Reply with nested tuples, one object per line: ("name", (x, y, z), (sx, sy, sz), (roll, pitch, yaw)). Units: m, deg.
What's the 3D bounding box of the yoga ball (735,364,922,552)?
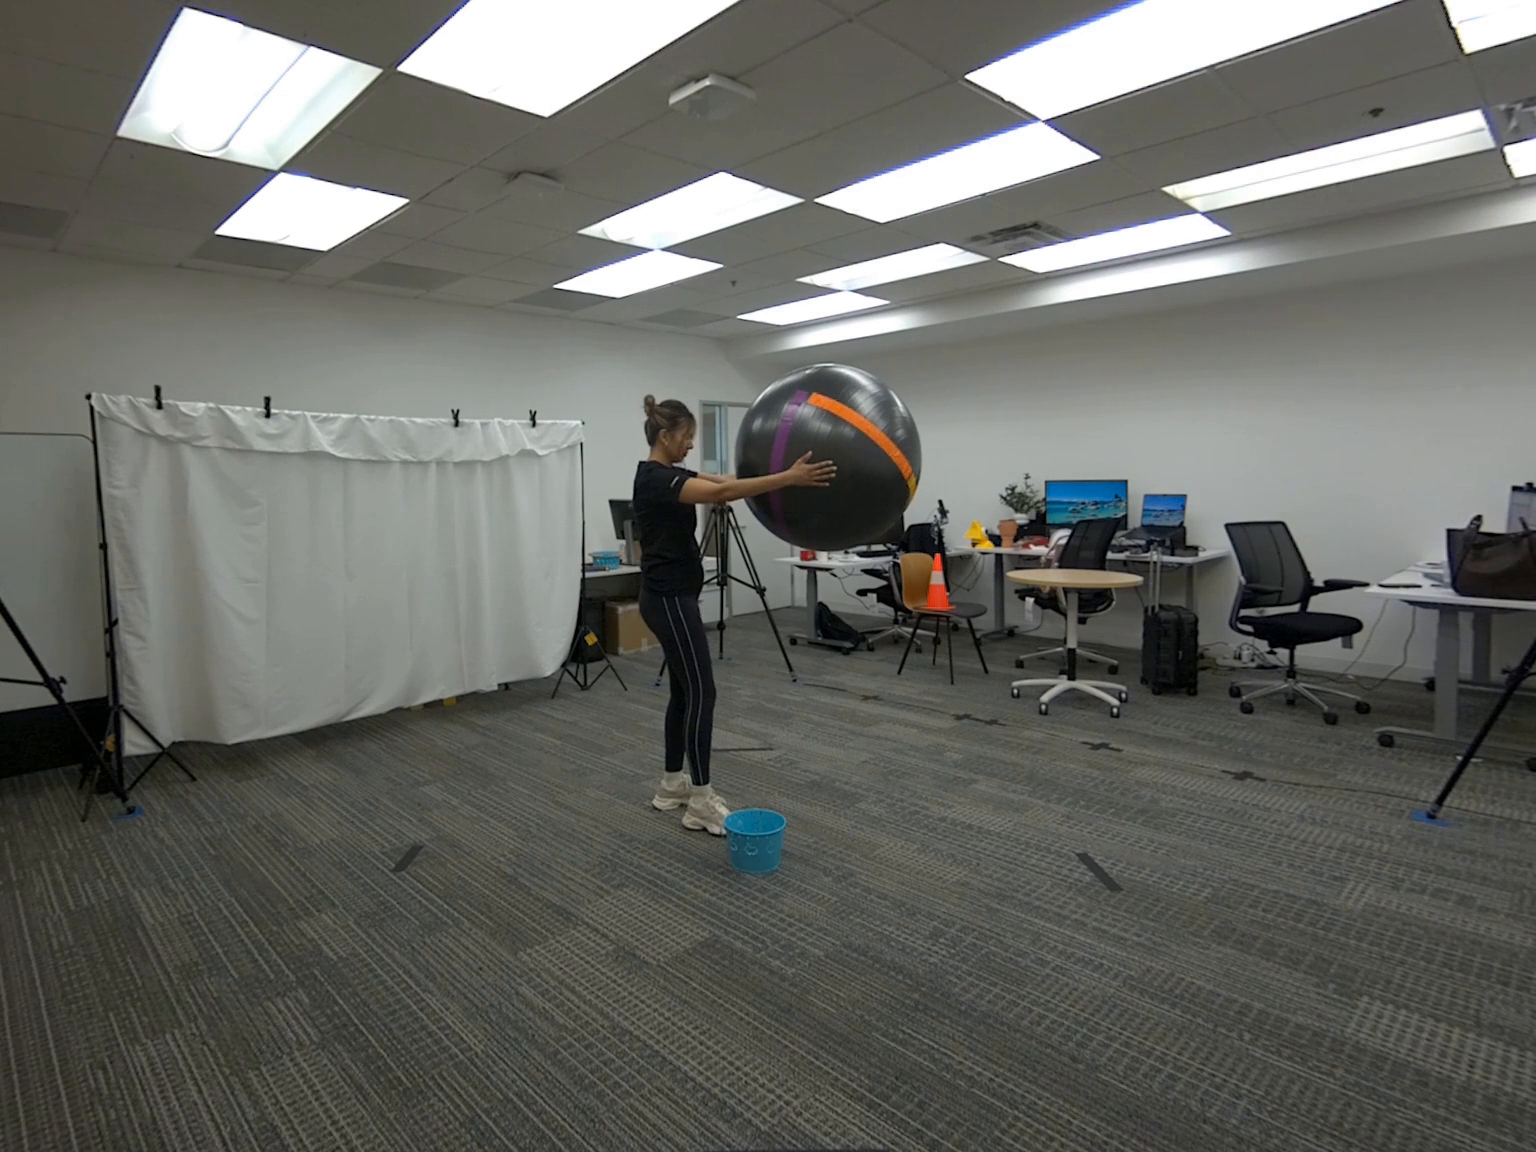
("yoga ball", (0.244, -0.473, 3.498), (0.757, 0.755, 0.762), (-1, 5, -2))
